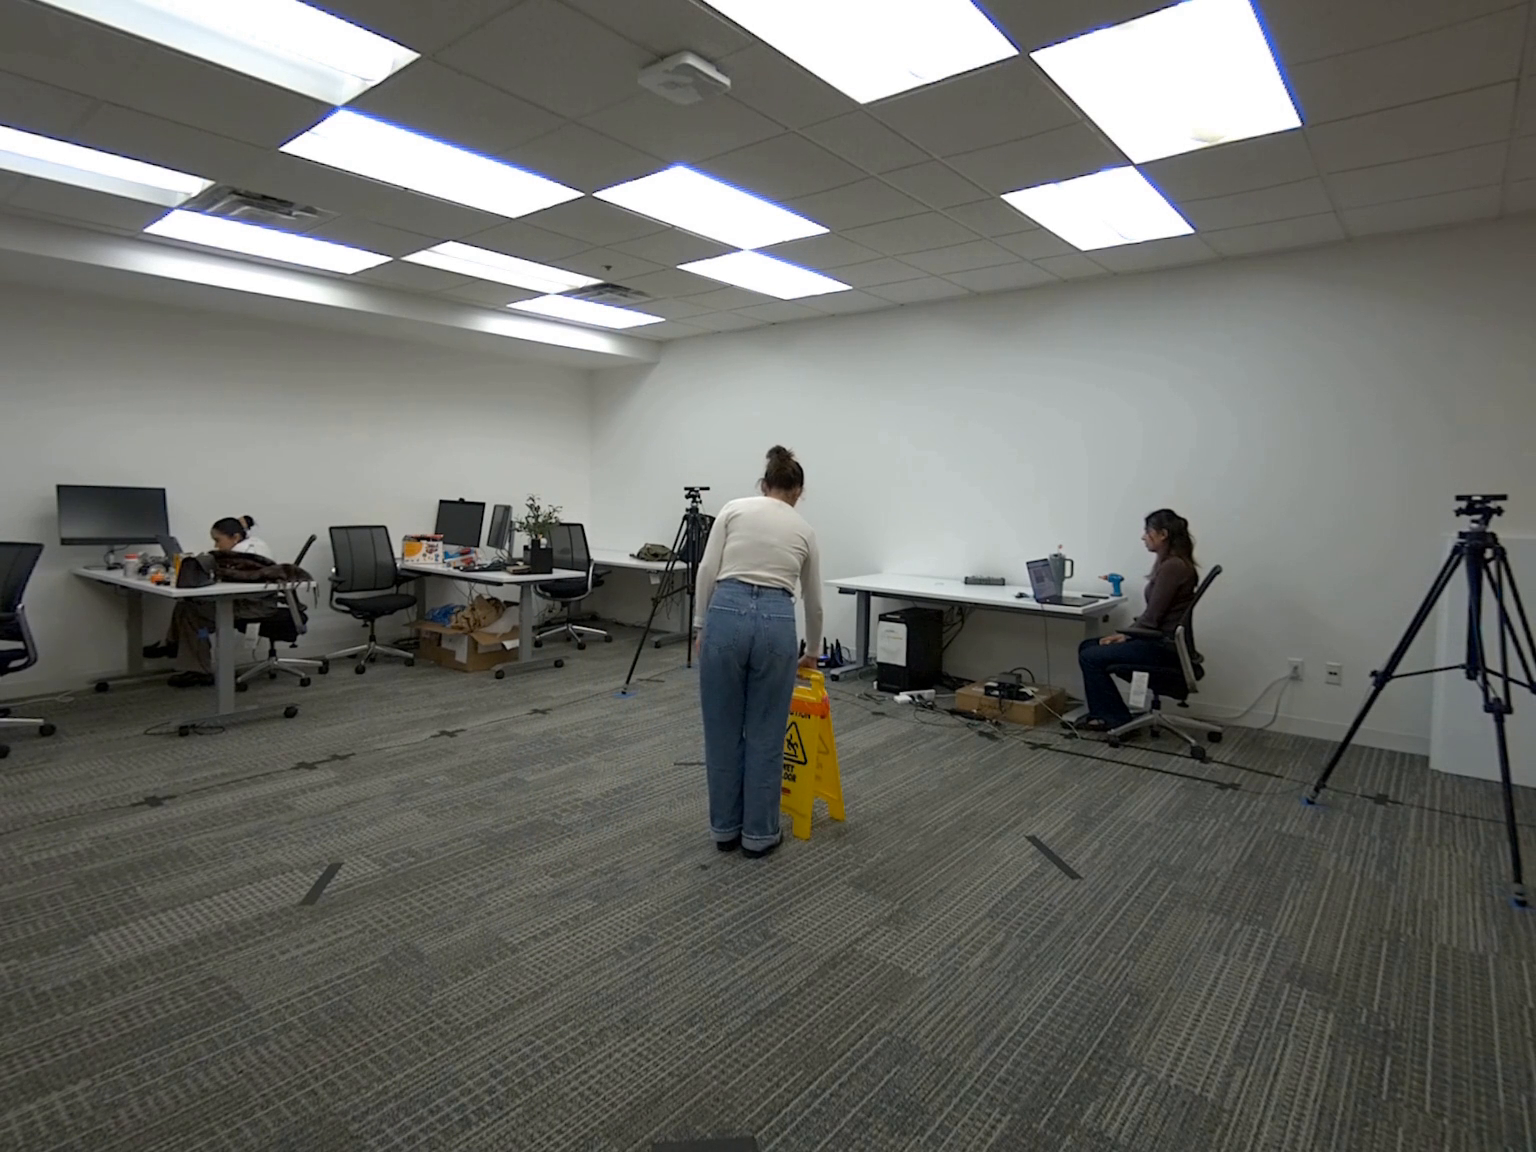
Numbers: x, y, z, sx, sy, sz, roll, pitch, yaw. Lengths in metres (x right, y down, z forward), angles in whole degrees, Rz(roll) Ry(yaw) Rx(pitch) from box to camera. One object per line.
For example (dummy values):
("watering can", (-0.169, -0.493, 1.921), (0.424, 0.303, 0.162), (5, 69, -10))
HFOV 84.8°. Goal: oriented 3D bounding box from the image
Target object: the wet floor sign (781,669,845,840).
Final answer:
("wet floor sign", (0.135, 0.698, 3.556), (0.292, 0.644, 0.281), (4, 4, 39))
